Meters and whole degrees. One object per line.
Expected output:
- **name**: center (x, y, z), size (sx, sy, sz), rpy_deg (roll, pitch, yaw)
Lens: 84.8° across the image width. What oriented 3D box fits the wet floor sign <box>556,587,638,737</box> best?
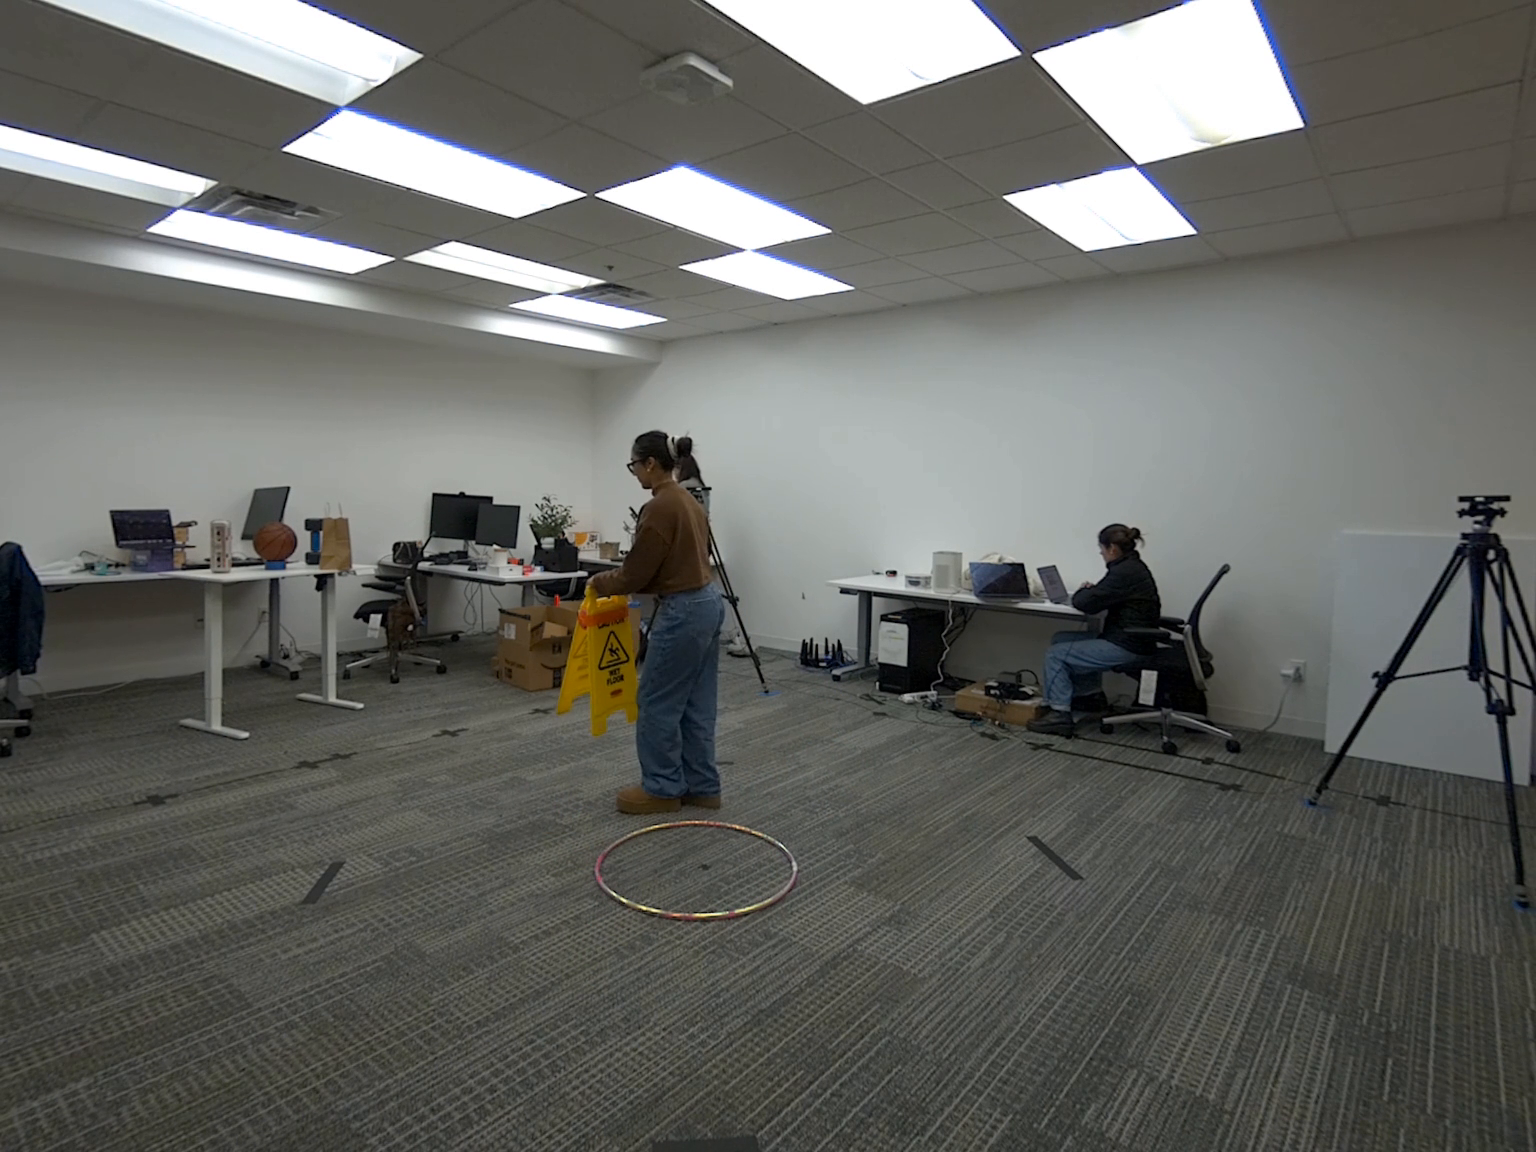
- **wet floor sign**: center (-0.763, 0.339, 3.807), size (0.301, 0.639, 0.275), rpy_deg (15, 16, 38)
